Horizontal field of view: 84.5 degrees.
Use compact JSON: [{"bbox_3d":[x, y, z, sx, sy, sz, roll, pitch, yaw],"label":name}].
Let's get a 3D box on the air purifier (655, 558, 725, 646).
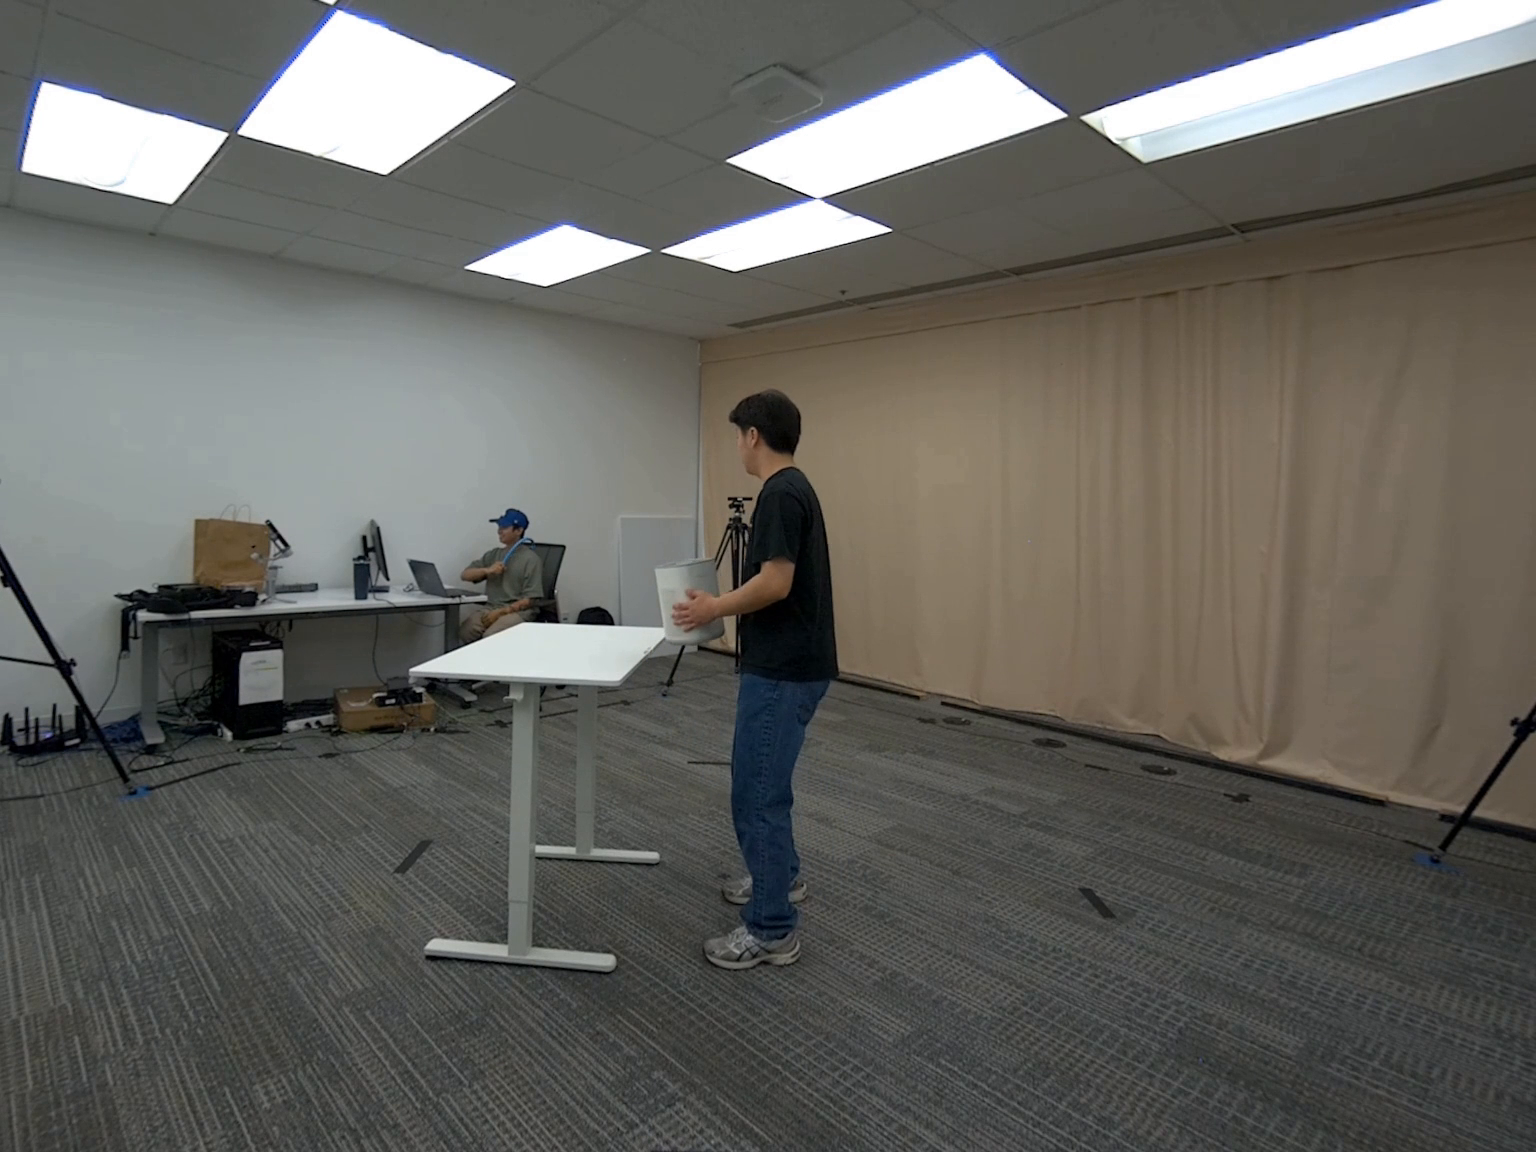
[{"bbox_3d":[-0.252,0.087,2.768,0.168,0.264,0.175,-13,7,-43],"label":"air purifier"}]
